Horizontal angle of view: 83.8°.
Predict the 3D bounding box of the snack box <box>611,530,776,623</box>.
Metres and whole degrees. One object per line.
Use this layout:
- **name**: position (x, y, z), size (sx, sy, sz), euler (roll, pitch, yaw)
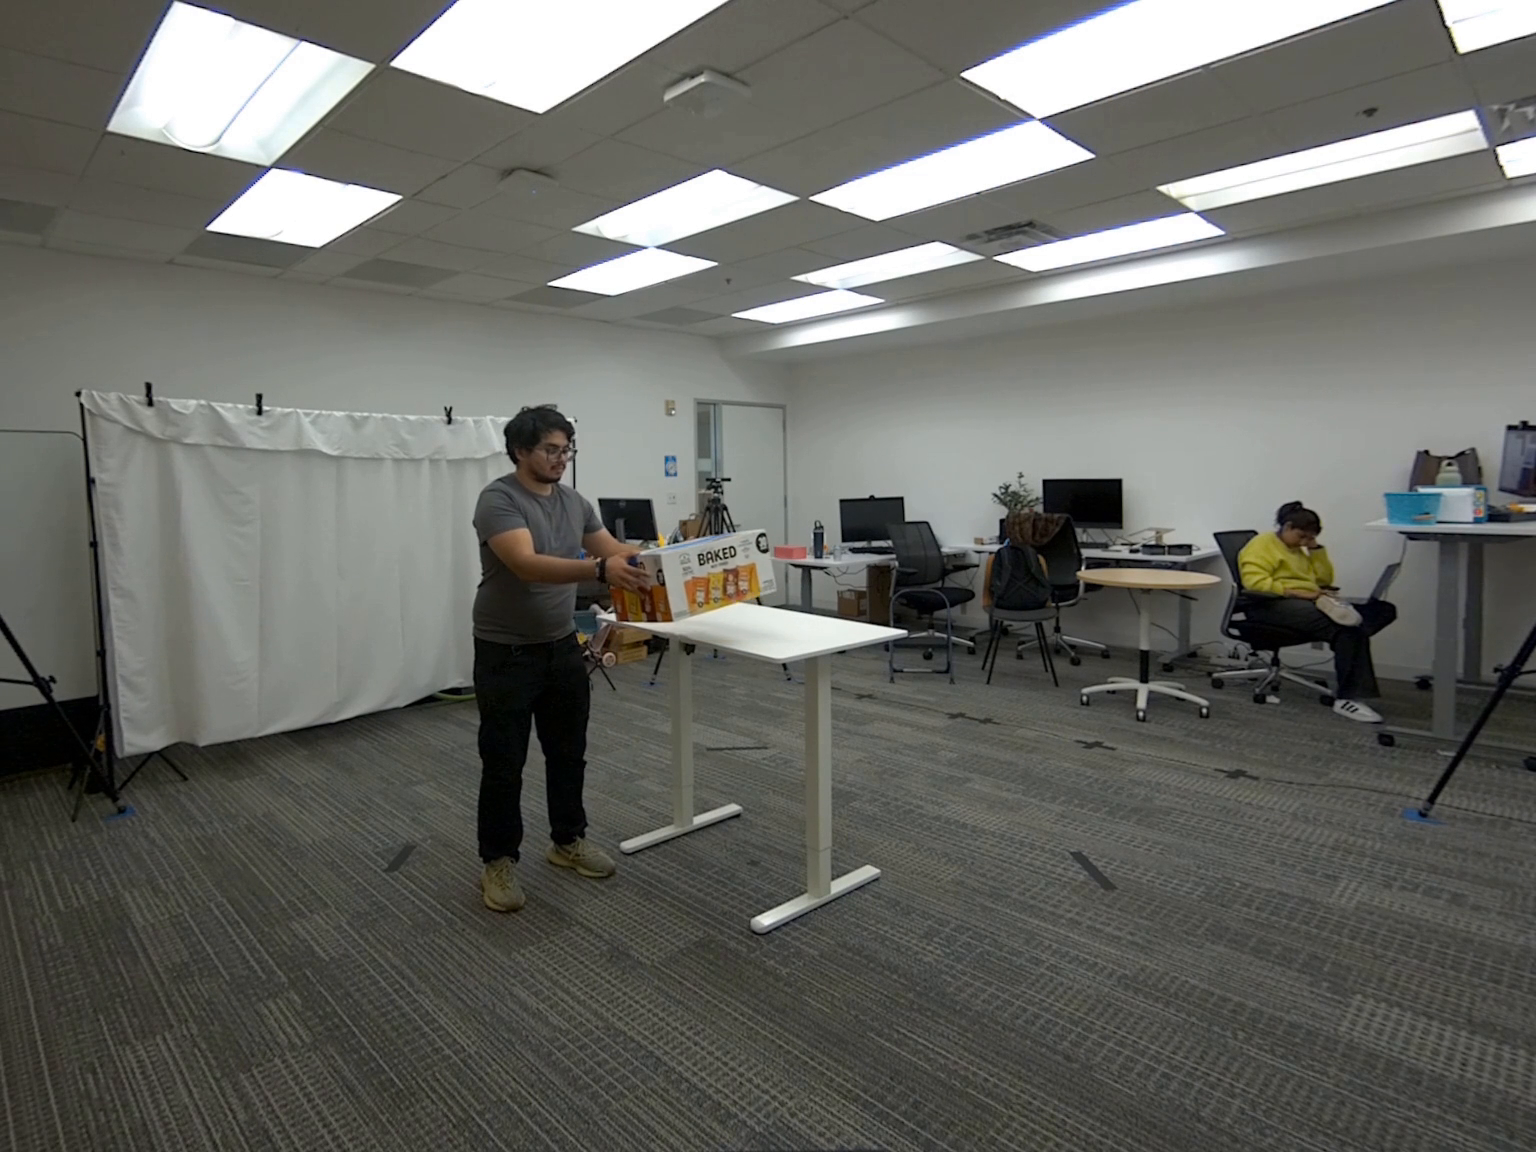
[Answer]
- **snack box**: position (-0.245, 0.003, 2.707), size (0.396, 0.205, 0.349), euler (-15, 7, -38)
